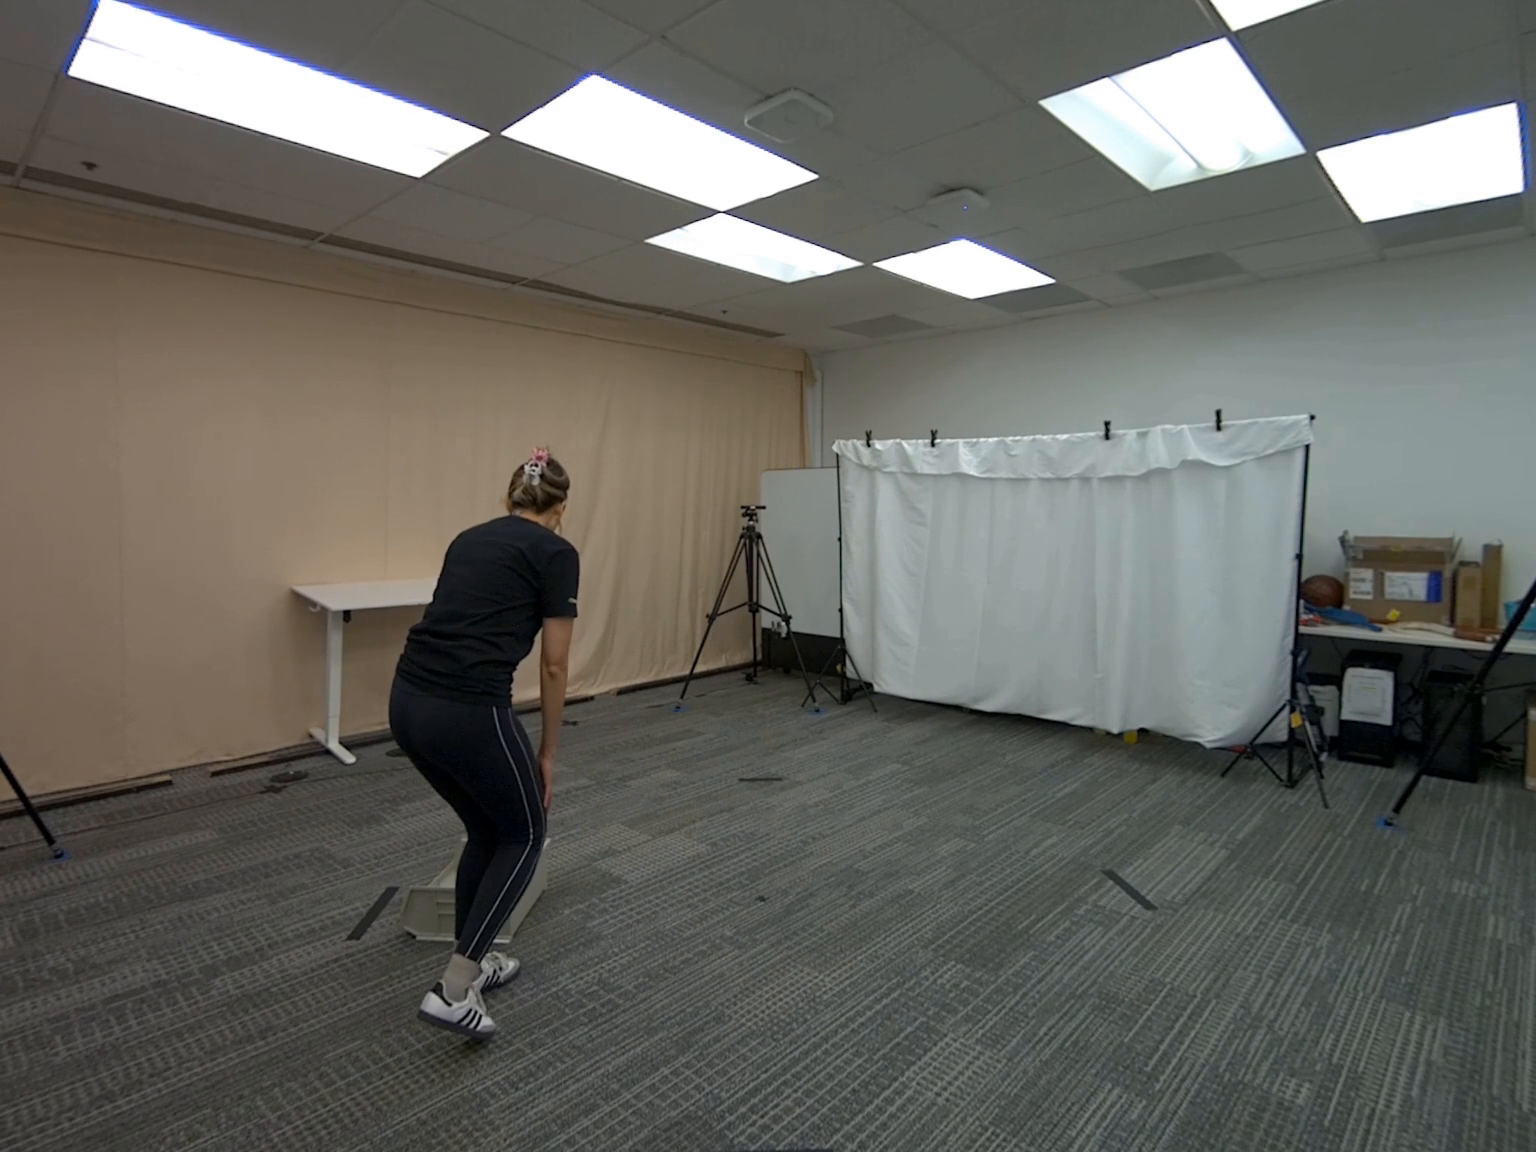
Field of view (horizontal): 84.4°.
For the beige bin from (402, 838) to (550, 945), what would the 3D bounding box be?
[{"bbox_3d":[-0.999,1.072,2.899,0.379,0.188,0.421,1,4,4],"label":"beige bin"}]
